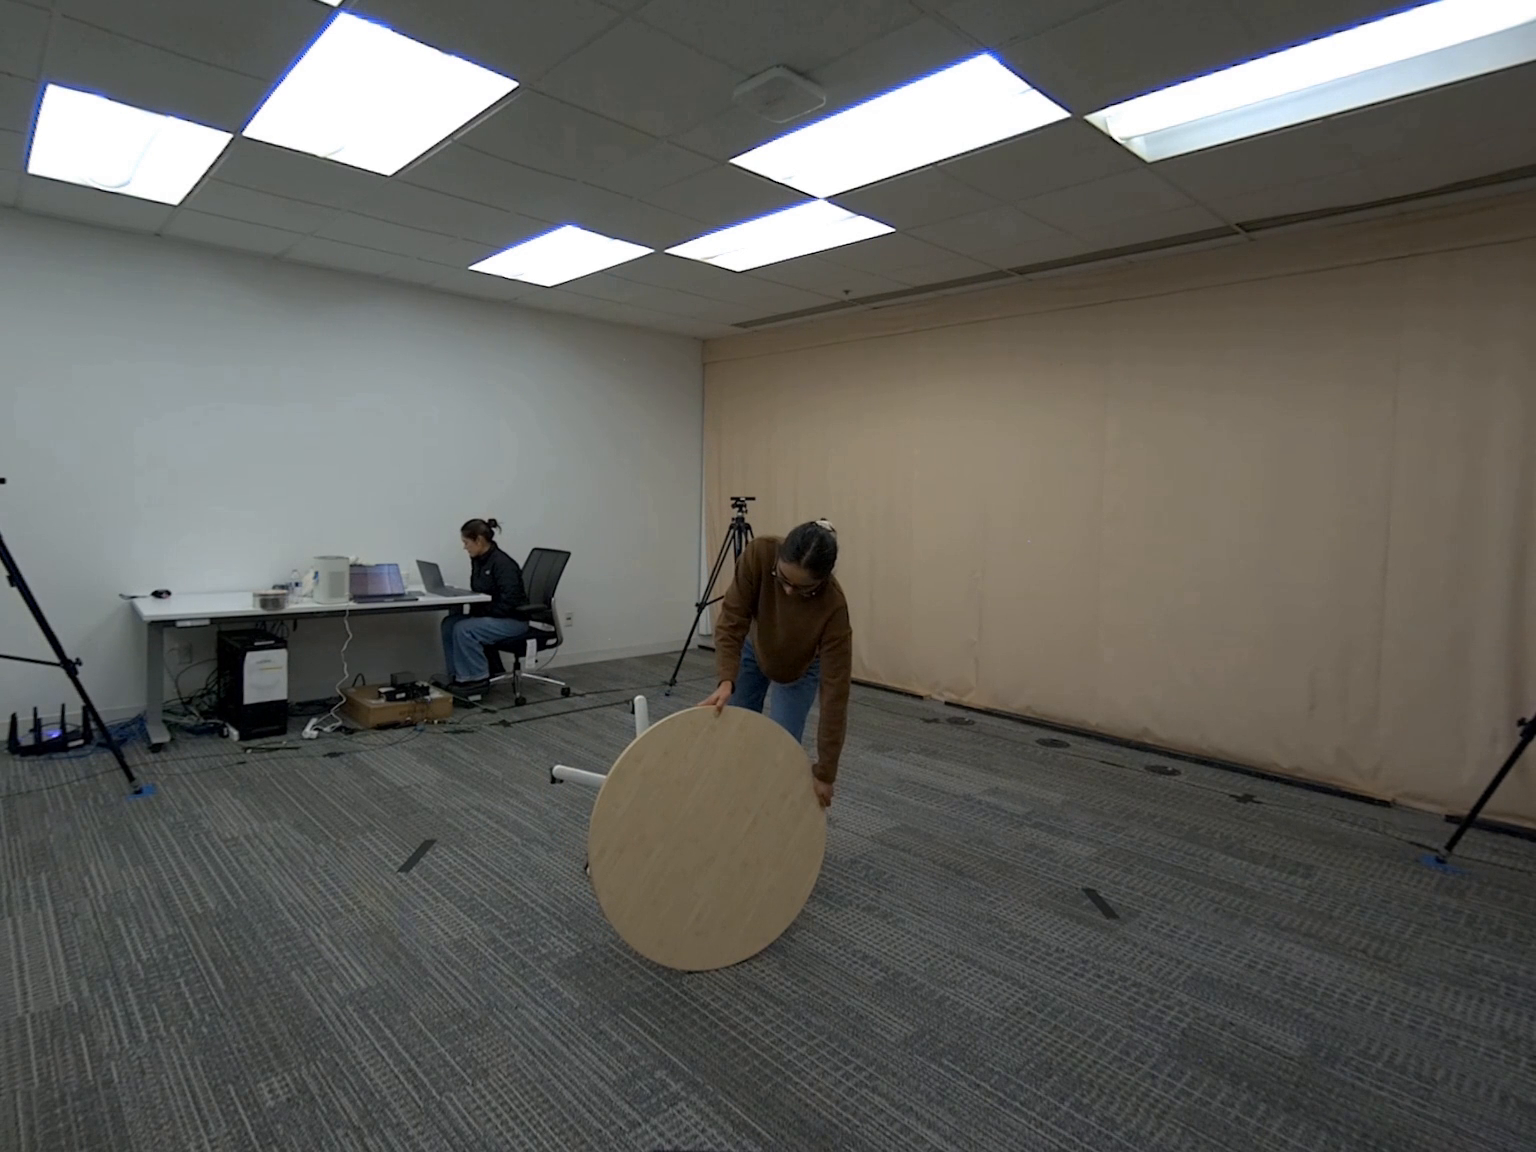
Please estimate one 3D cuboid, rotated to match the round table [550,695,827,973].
[{"bbox_3d":[-0.341,0.790,2.867,0.750,0.766,0.806,-1,-3,-25],"label":"round table"}]
